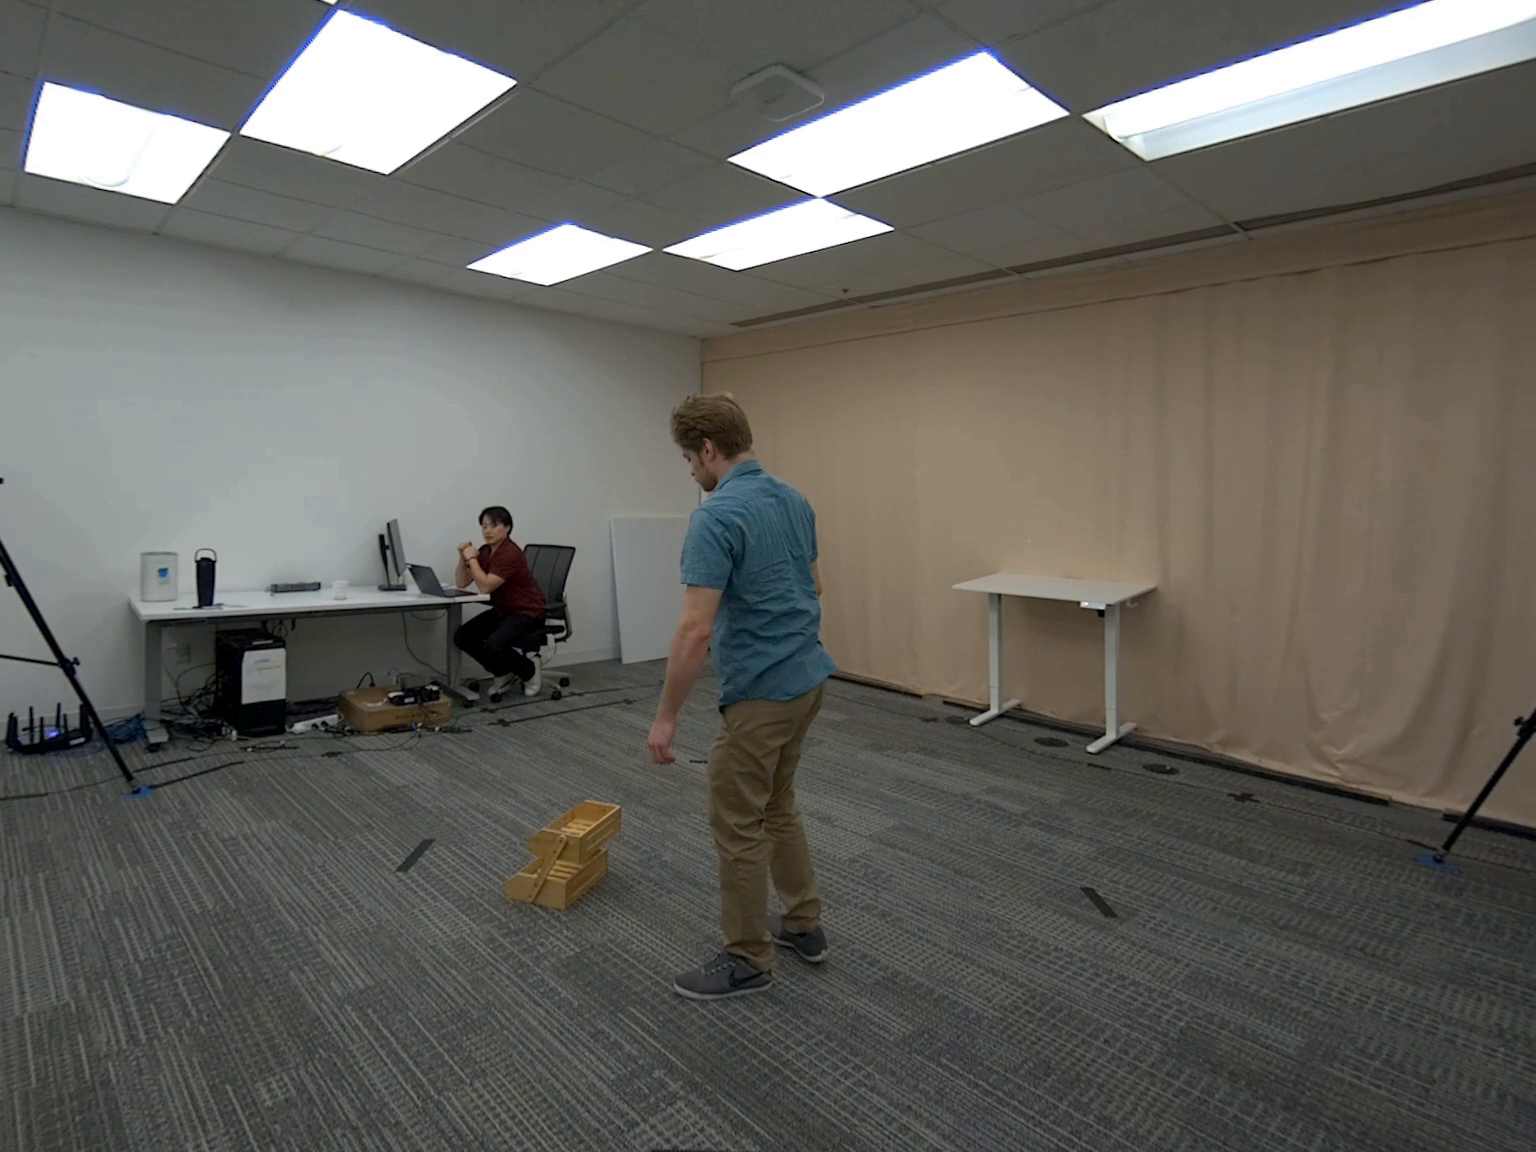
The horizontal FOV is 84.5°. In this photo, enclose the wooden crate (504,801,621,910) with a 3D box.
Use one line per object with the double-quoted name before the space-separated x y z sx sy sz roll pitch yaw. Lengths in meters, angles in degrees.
"wooden crate" -0.740 0.972 2.977 0.306 0.272 0.320 3 5 18
